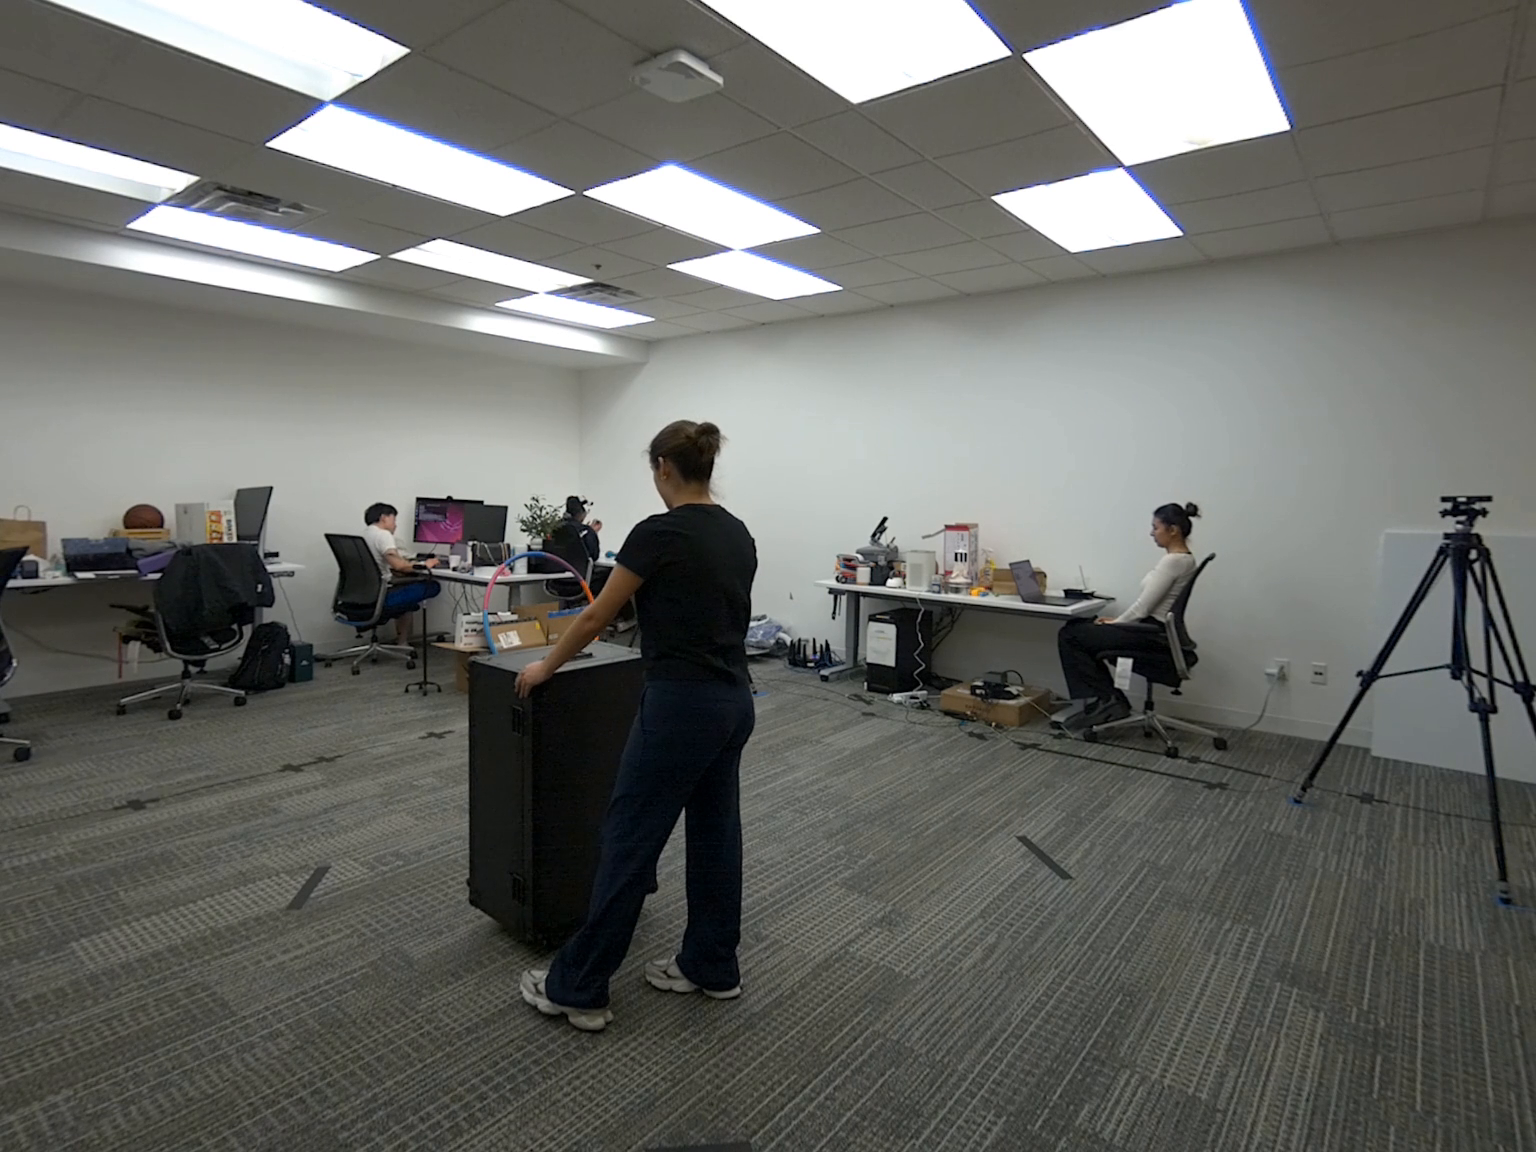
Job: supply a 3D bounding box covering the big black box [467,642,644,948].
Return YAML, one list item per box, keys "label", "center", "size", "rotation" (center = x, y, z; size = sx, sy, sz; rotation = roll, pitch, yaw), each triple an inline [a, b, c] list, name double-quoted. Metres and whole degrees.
- label: "big black box"
  center: [-0.654, 0.670, 2.730]
  size: [0.409, 0.859, 0.505]
  rotation: [2, 4, 43]
